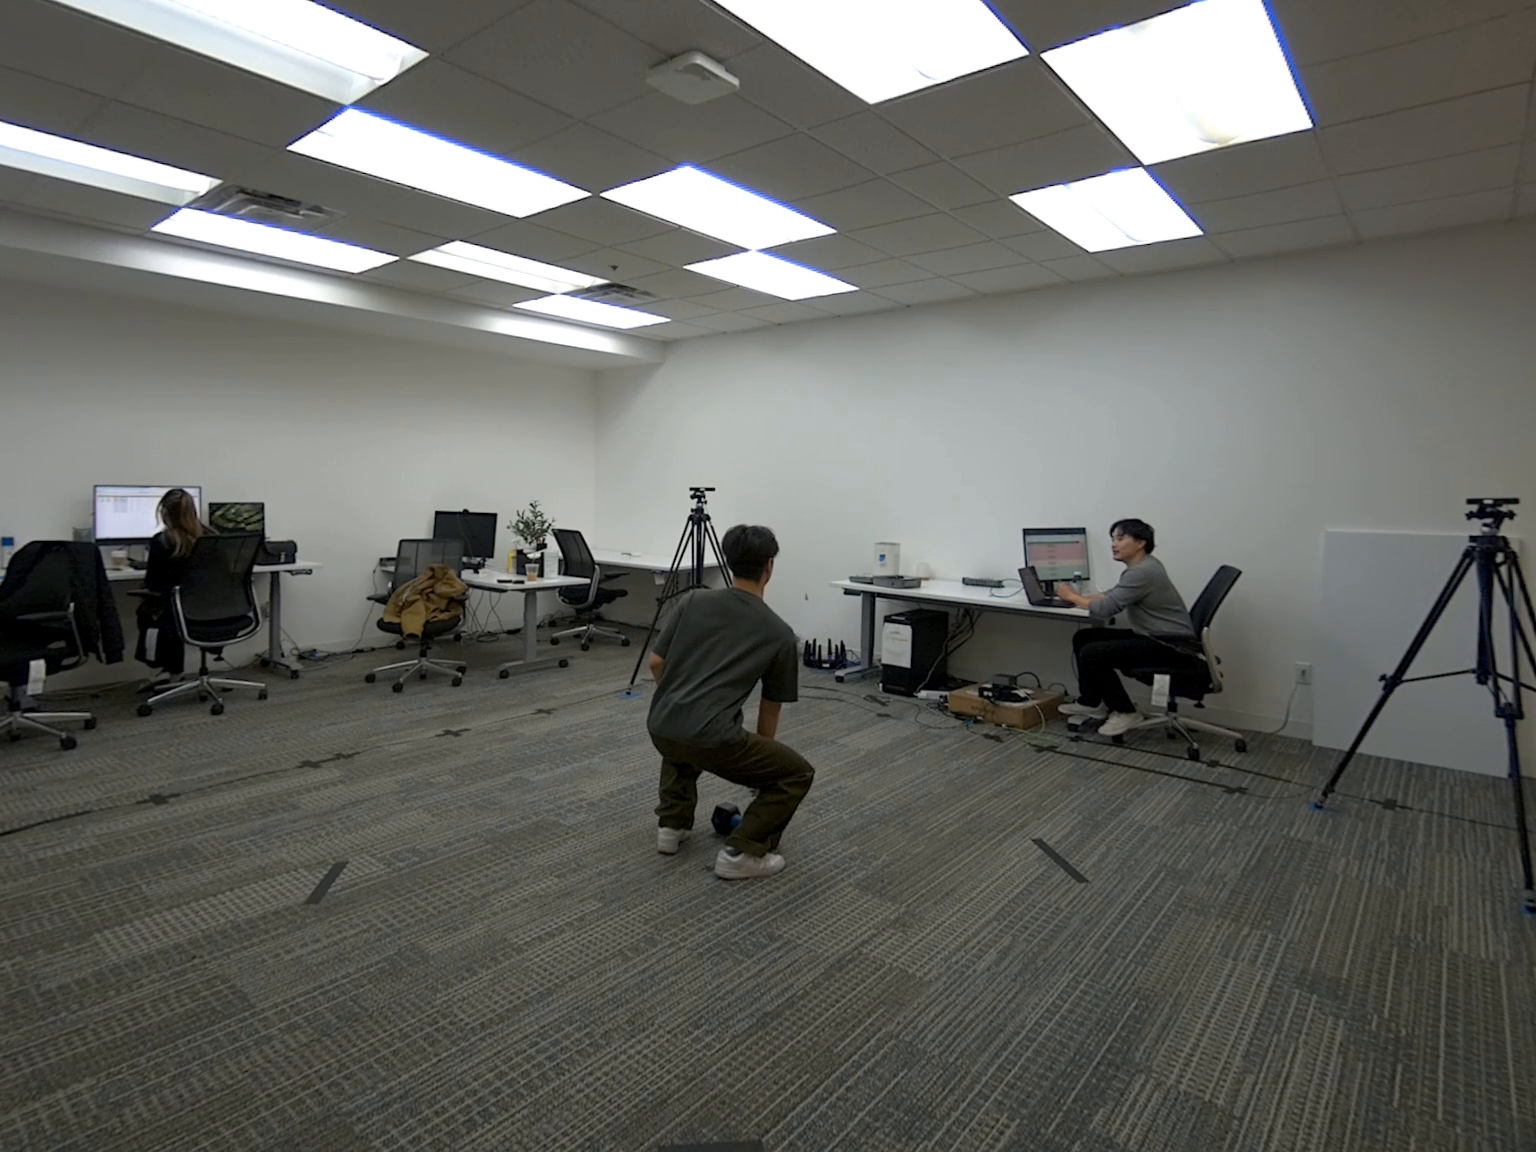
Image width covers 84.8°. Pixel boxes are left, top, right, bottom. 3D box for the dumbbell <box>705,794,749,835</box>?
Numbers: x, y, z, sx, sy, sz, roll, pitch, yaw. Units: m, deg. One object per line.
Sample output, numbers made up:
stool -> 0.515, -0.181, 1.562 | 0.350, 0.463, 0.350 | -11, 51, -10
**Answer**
dumbbell -> -0.094, 0.986, 3.367 | 0.303, 0.124, 0.104 | 5, -24, 42
